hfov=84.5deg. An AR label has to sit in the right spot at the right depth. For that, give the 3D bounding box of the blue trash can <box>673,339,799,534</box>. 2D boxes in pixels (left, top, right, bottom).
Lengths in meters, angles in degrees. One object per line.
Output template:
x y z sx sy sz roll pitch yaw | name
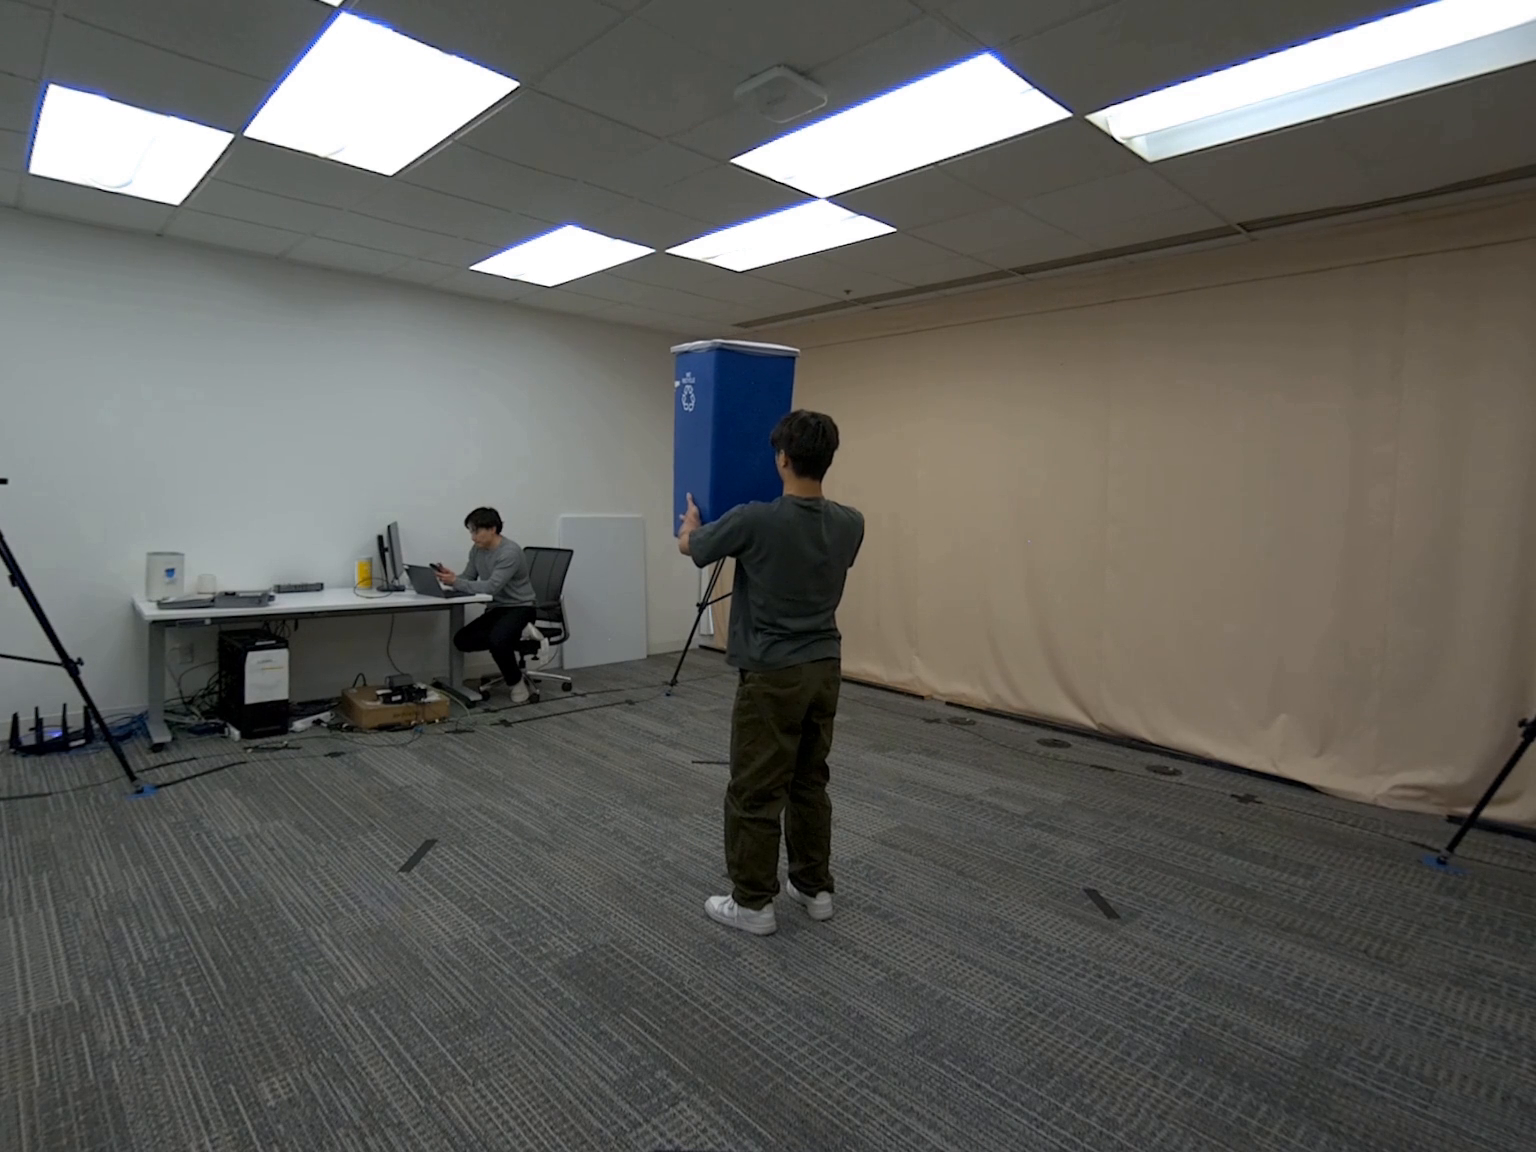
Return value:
-0.152 -0.488 3.133 0.366 0.710 0.388 -1 8 -32 | blue trash can
